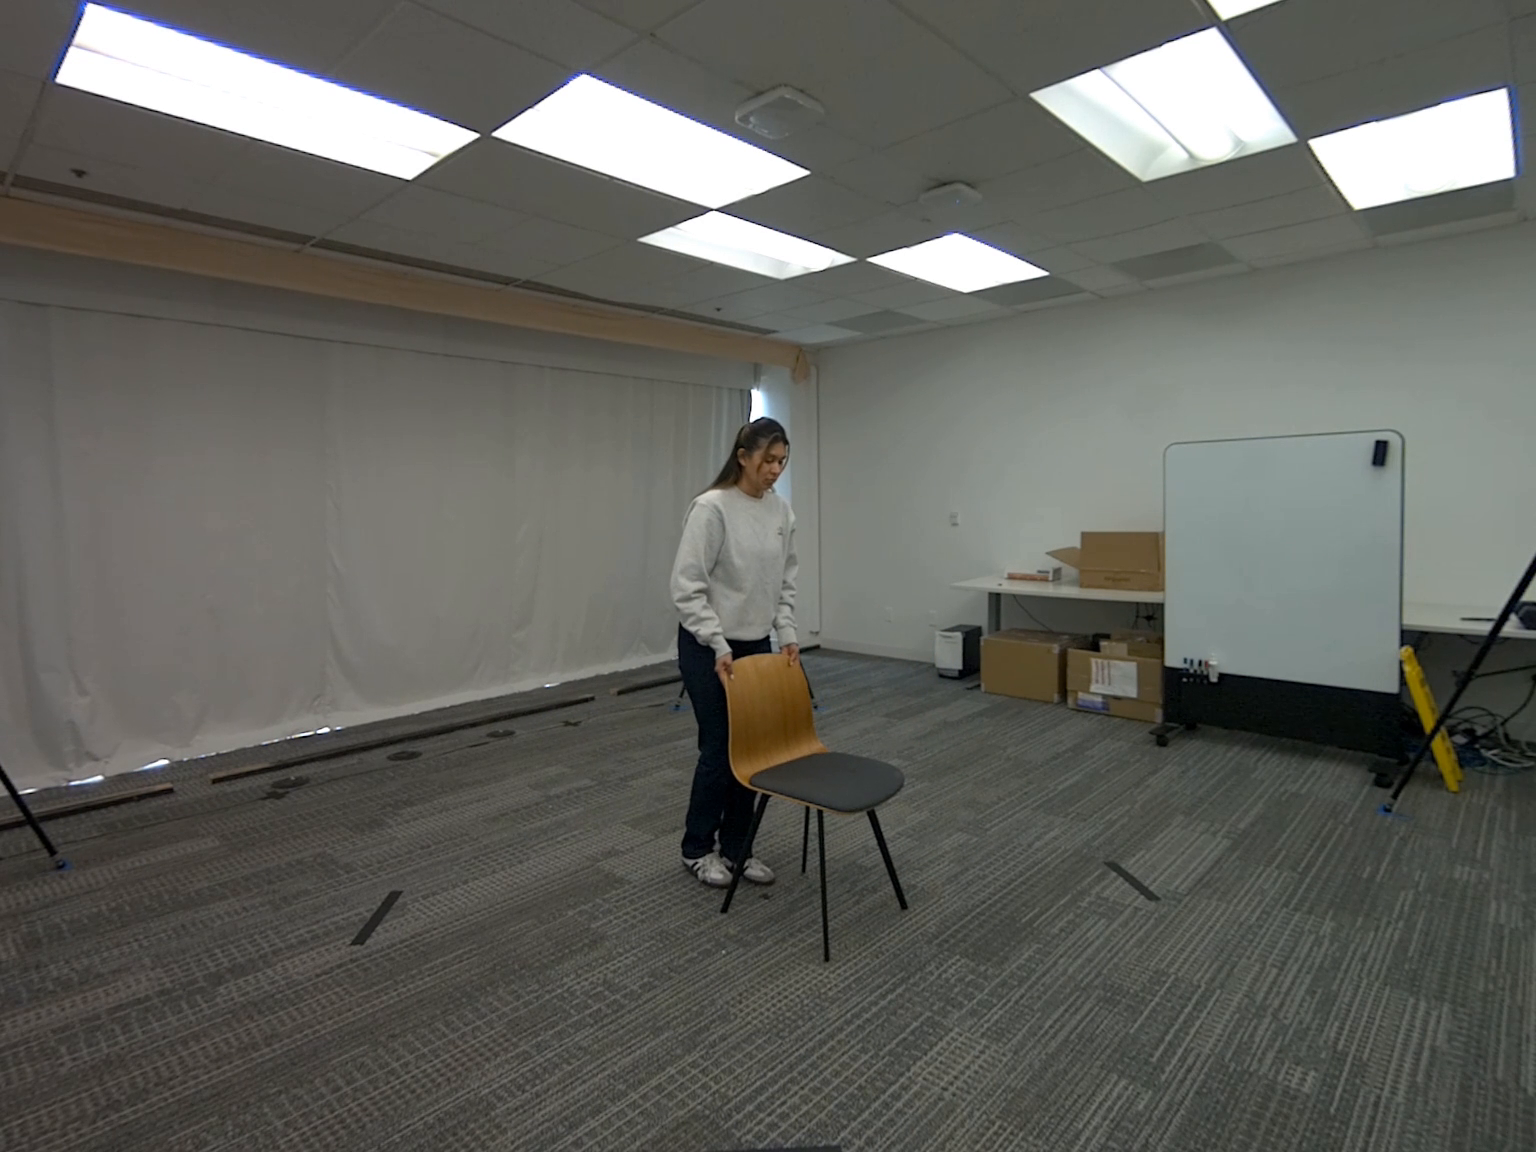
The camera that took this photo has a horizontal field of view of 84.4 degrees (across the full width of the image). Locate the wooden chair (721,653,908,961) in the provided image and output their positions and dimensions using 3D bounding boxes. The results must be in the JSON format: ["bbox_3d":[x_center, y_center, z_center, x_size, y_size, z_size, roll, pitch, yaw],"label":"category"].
[{"bbox_3d":[0.168,0.720,2.828,0.539,0.877,0.463,-3,1,43],"label":"wooden chair"}]
